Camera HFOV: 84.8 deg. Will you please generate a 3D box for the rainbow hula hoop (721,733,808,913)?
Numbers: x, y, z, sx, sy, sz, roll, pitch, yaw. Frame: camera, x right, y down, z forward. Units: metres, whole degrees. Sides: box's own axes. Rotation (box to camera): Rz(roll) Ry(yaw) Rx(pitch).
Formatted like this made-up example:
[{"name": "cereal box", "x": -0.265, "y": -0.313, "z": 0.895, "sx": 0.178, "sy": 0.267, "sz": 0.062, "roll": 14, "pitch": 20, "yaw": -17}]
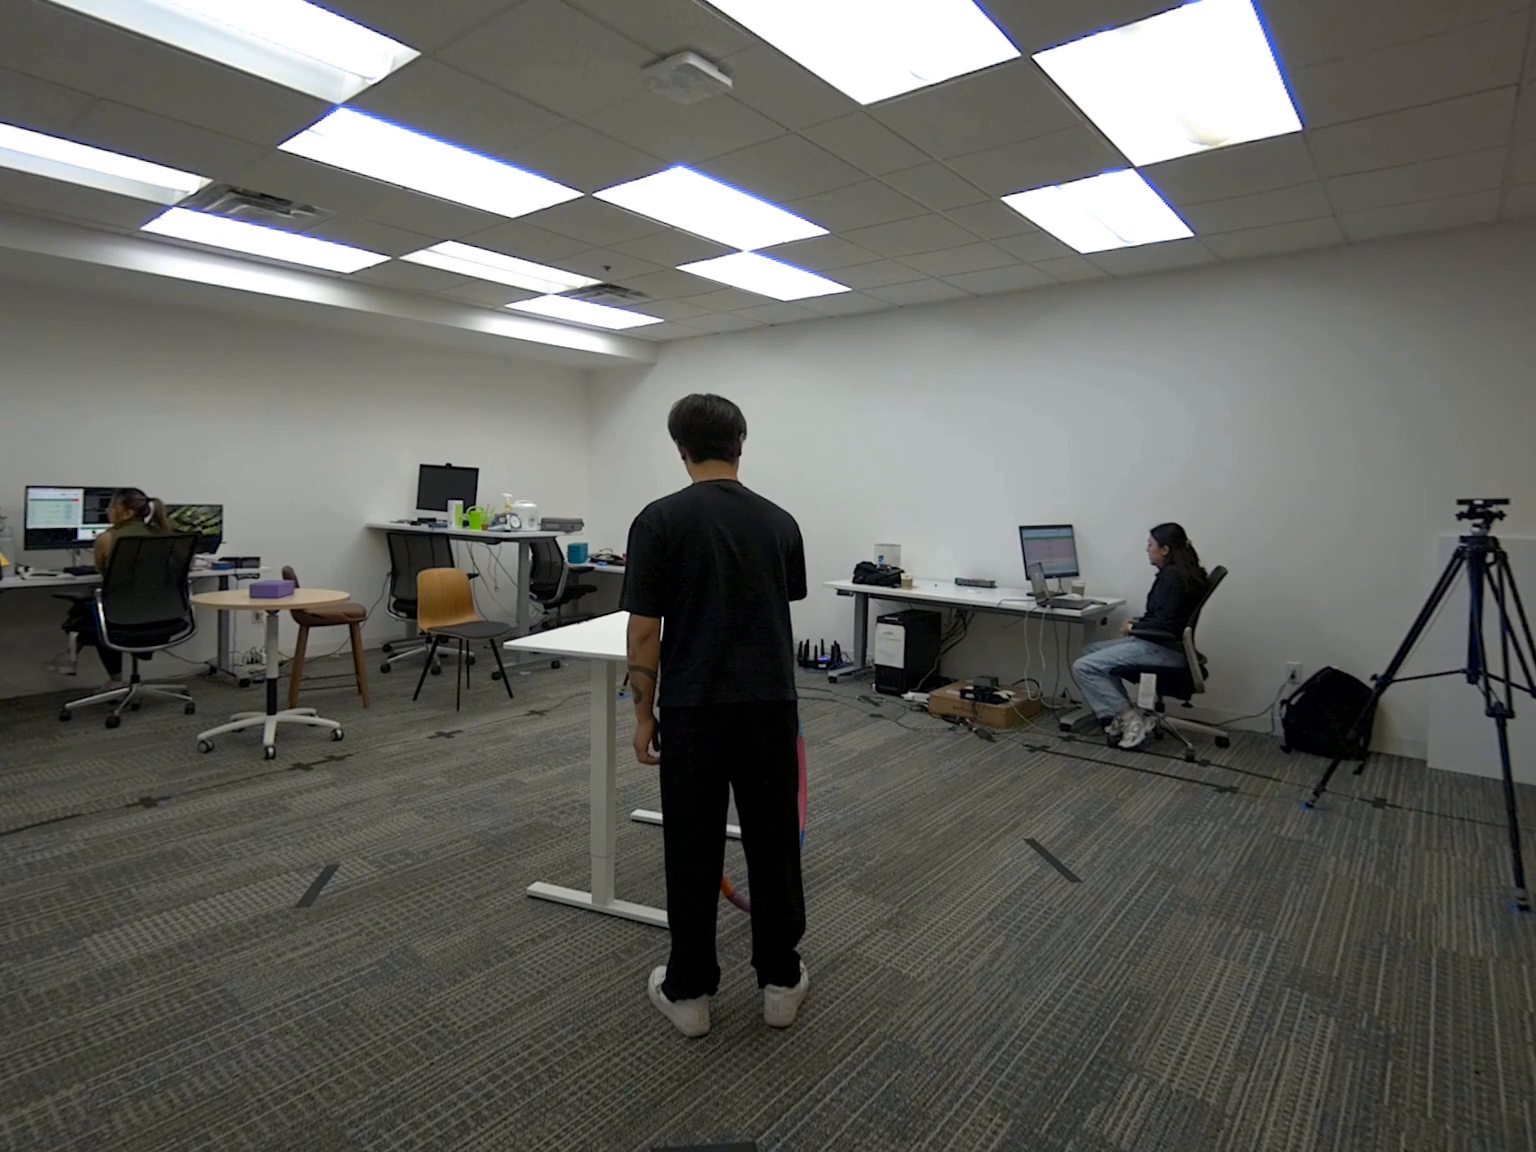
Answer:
[{"name": "rainbow hula hoop", "x": -0.053, "y": 0.618, "z": 2.918, "sx": 0.036, "sy": 0.981, "sz": 0.960, "roll": -11, "pitch": -1, "yaw": 20}]
